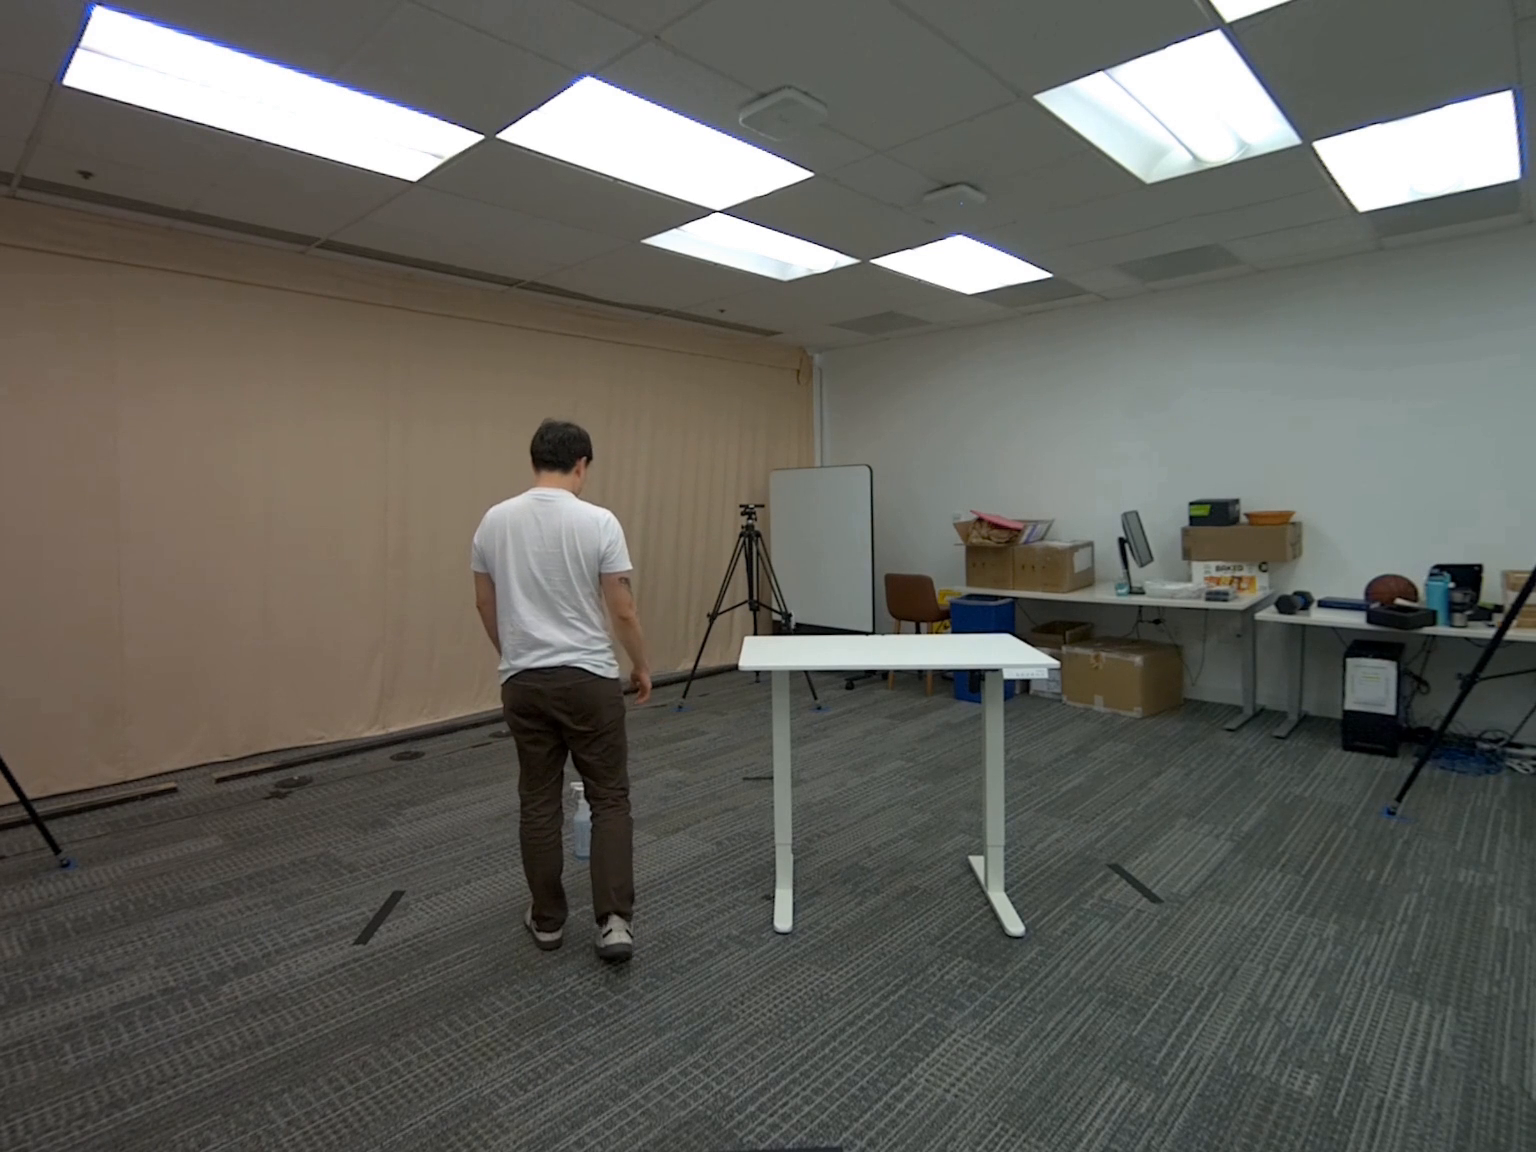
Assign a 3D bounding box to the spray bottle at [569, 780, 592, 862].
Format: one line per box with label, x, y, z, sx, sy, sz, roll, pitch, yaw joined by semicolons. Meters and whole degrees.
spray bottle;-0.743;0.986;3.394;0.092;0.297;0.085;1;2;17
